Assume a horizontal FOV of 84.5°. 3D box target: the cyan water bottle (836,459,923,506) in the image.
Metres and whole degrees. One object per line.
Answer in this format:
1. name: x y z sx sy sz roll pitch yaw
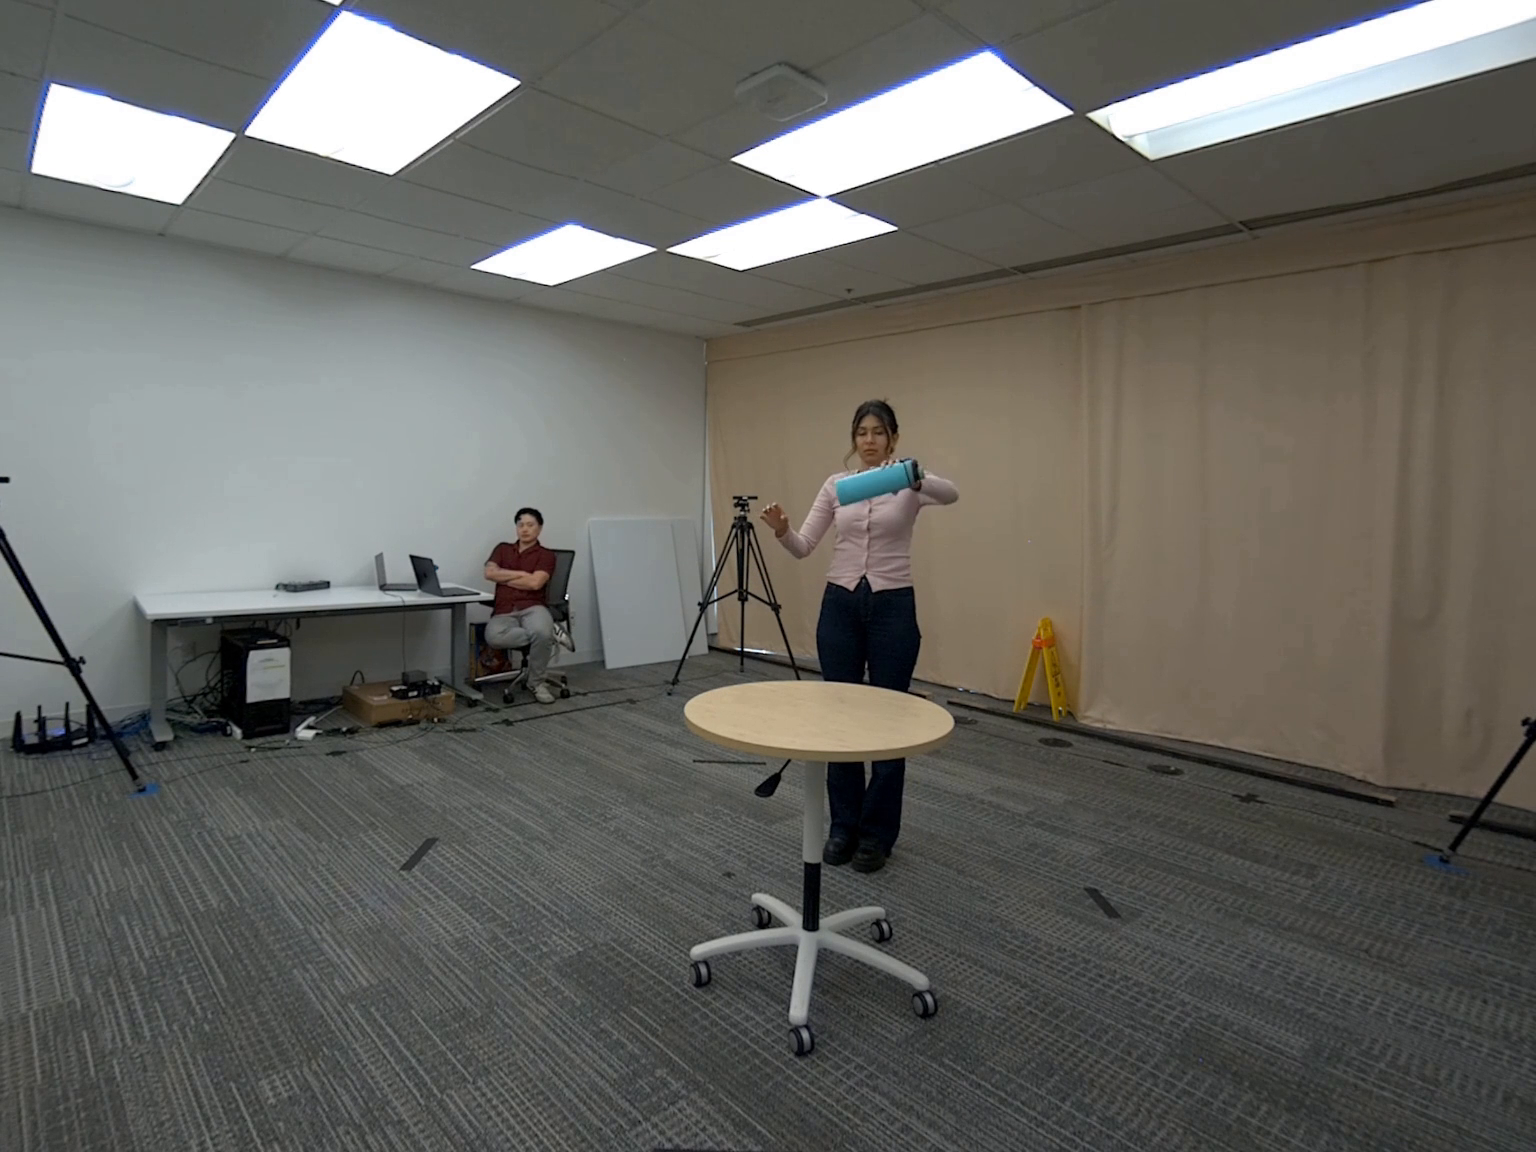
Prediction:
1. cyan water bottle: 0.360 -0.301 2.716 0.286 0.092 0.091 -16 0 14
